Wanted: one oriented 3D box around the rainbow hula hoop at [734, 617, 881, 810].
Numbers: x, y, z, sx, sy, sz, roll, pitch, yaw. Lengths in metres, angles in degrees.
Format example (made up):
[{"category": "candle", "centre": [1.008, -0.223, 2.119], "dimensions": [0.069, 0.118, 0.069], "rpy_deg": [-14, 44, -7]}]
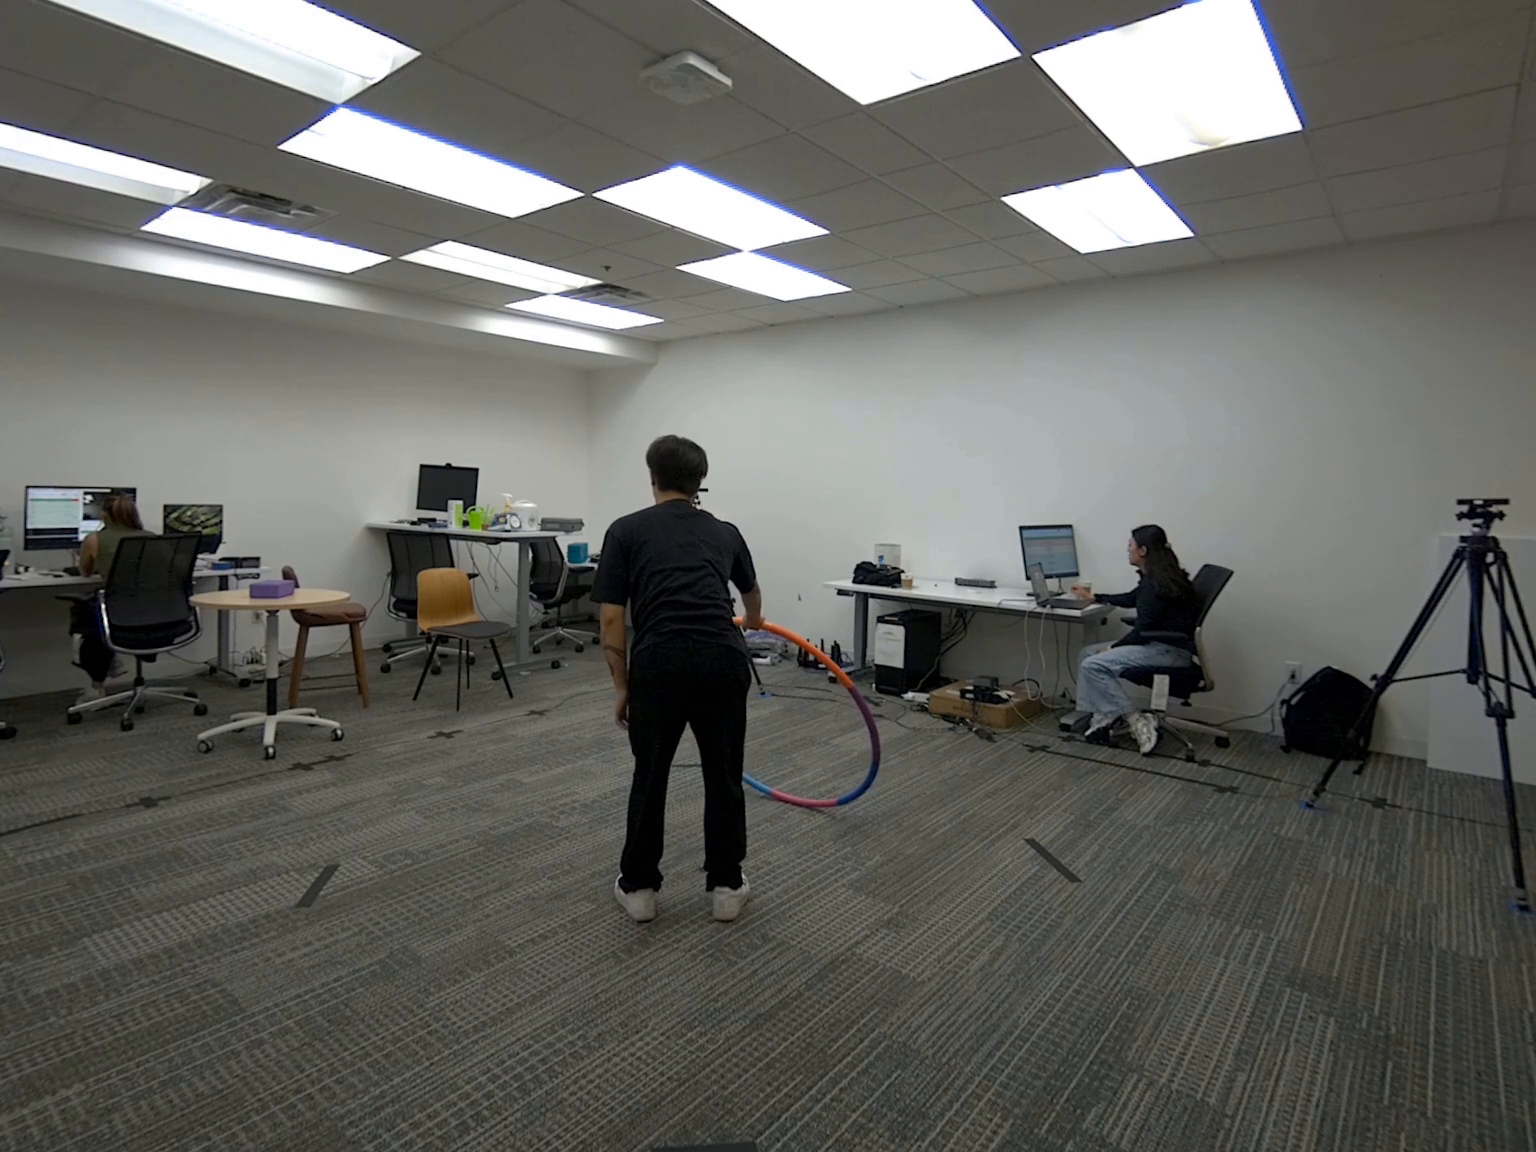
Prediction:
[{"category": "rainbow hula hoop", "centre": [0.002, 0.586, 3.575], "dimensions": [1.009, 0.951, 0.035], "rpy_deg": [4, 32, 33]}]
